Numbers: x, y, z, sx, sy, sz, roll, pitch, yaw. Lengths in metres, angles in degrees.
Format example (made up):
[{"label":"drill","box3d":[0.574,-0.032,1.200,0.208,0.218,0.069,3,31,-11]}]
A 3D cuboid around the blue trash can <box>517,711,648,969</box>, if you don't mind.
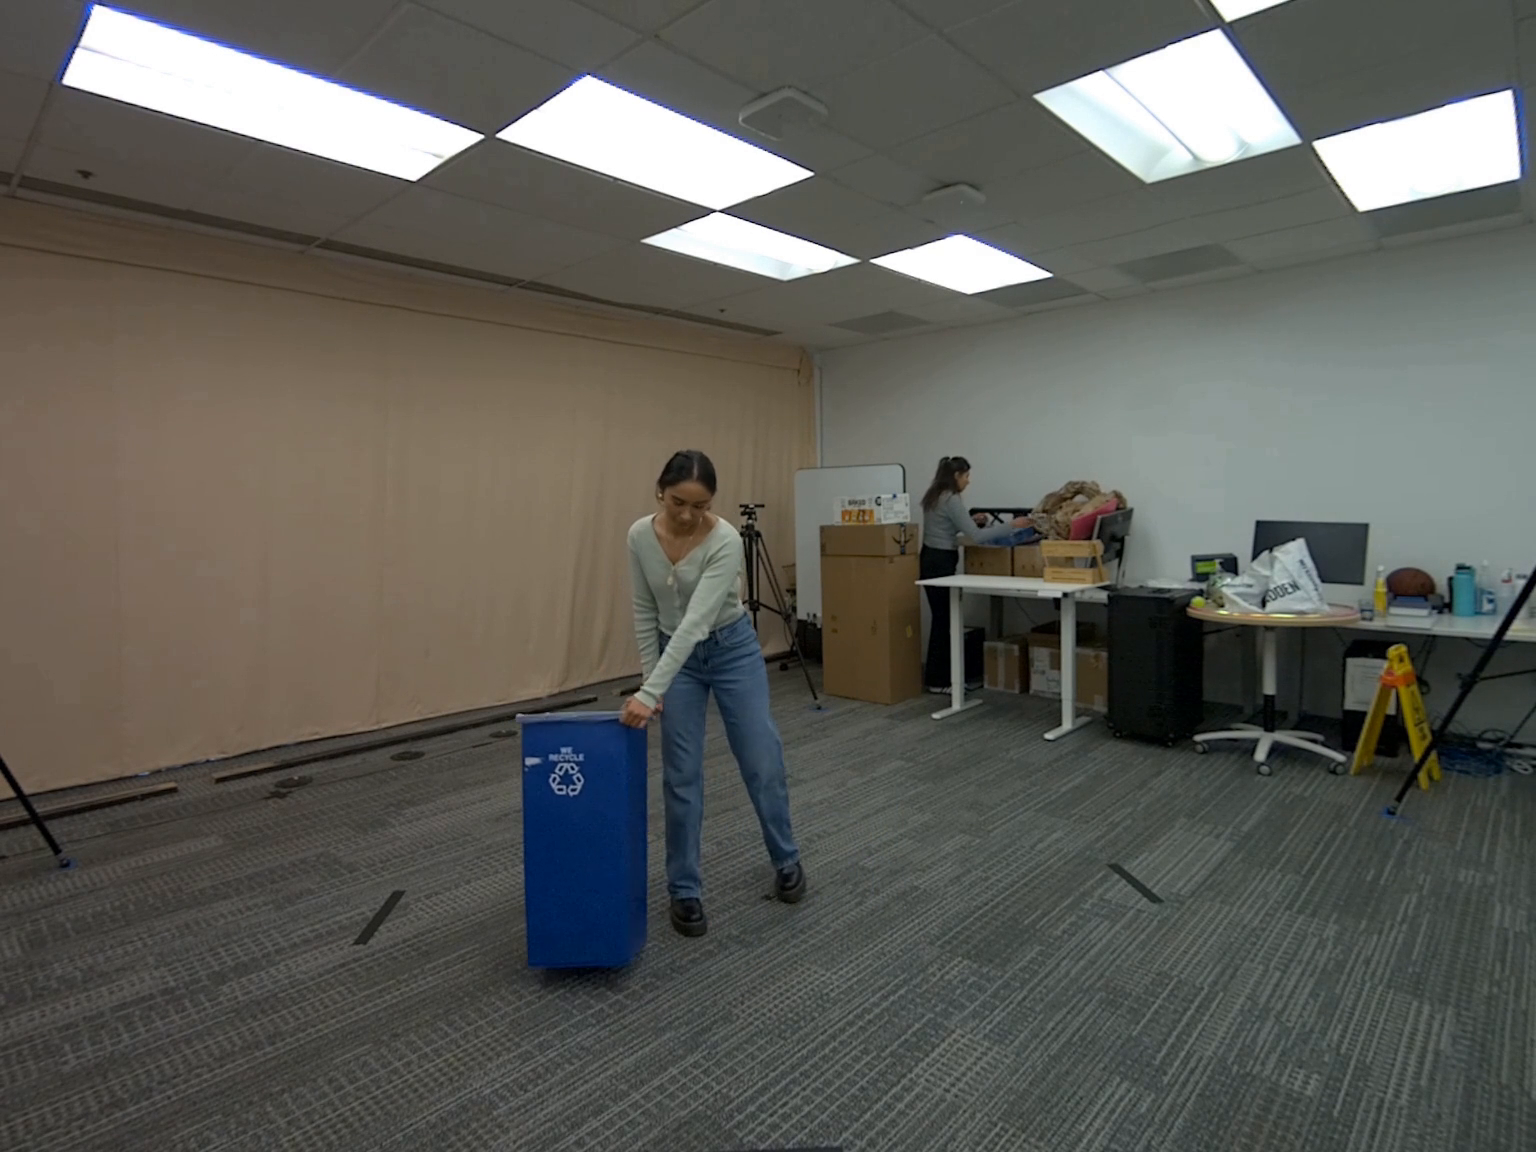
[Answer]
[{"label":"blue trash can","box3d":[-0.544,0.798,2.615,0.376,0.719,0.373,-5,-11,4]}]
